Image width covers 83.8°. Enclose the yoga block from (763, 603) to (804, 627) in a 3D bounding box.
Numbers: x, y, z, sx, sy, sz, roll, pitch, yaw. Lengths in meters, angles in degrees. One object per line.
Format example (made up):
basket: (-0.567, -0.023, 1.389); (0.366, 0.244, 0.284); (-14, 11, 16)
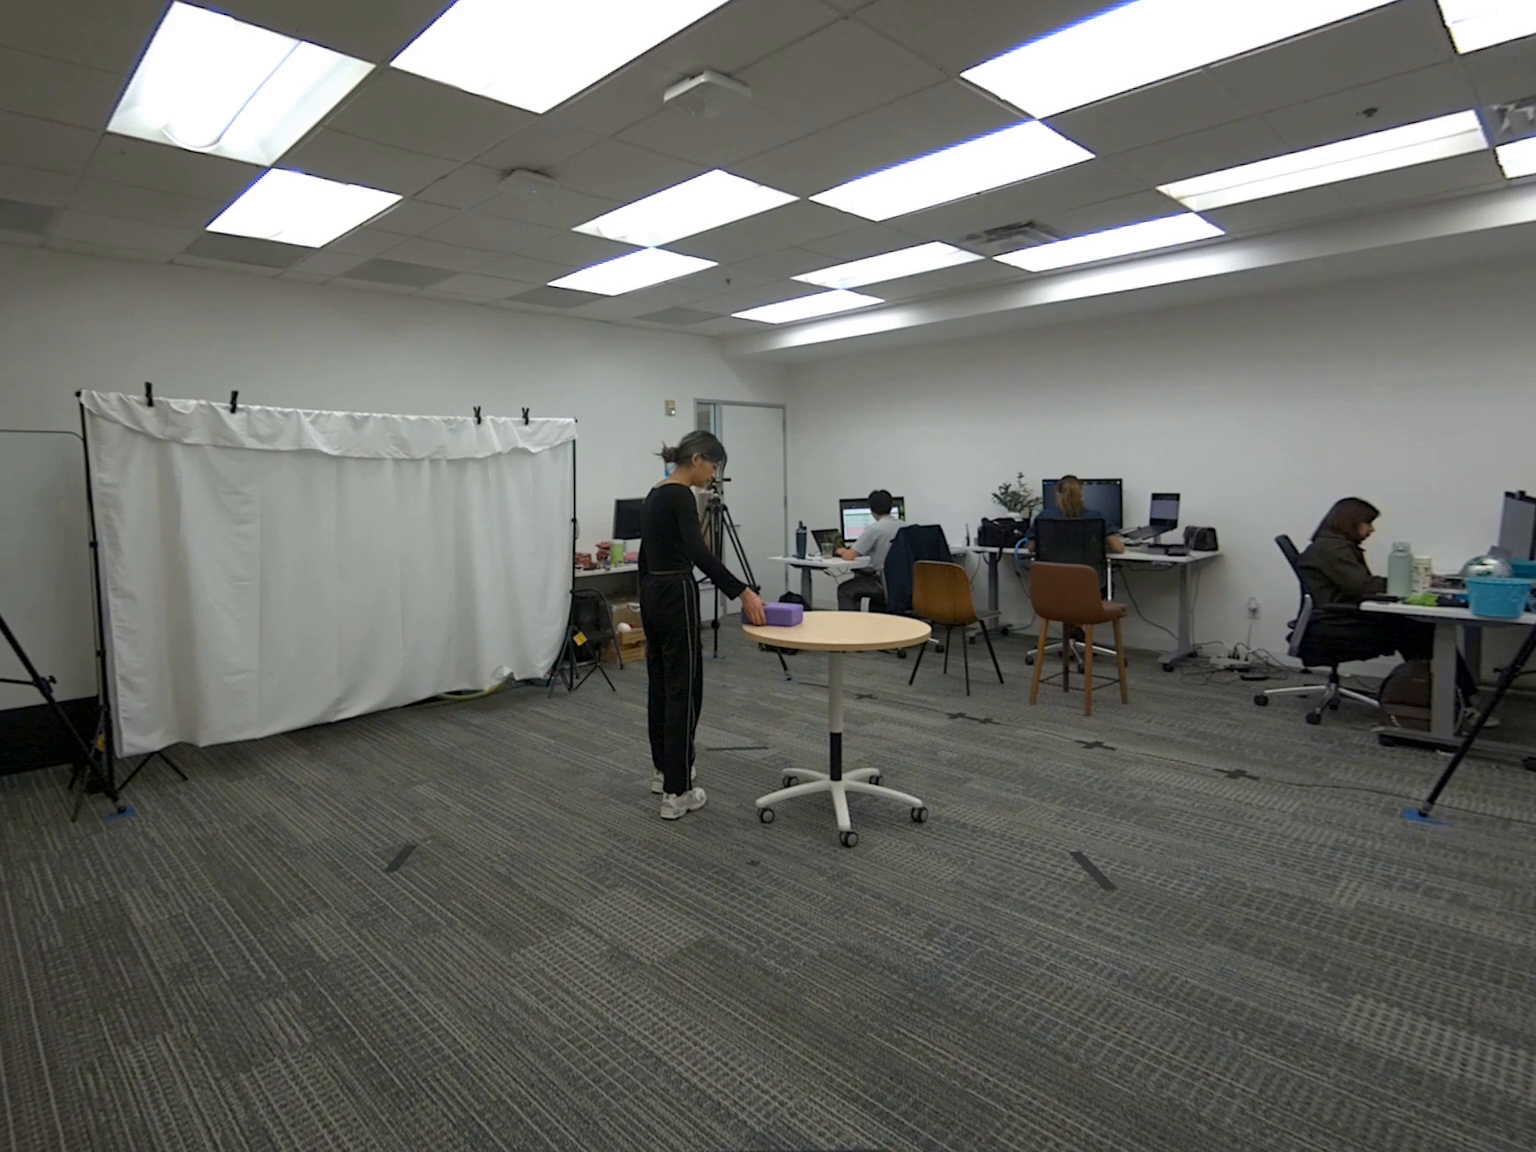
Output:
yoga block: (0.021, 0.160, 3.595); (0.234, 0.076, 0.146); (3, 5, 24)
